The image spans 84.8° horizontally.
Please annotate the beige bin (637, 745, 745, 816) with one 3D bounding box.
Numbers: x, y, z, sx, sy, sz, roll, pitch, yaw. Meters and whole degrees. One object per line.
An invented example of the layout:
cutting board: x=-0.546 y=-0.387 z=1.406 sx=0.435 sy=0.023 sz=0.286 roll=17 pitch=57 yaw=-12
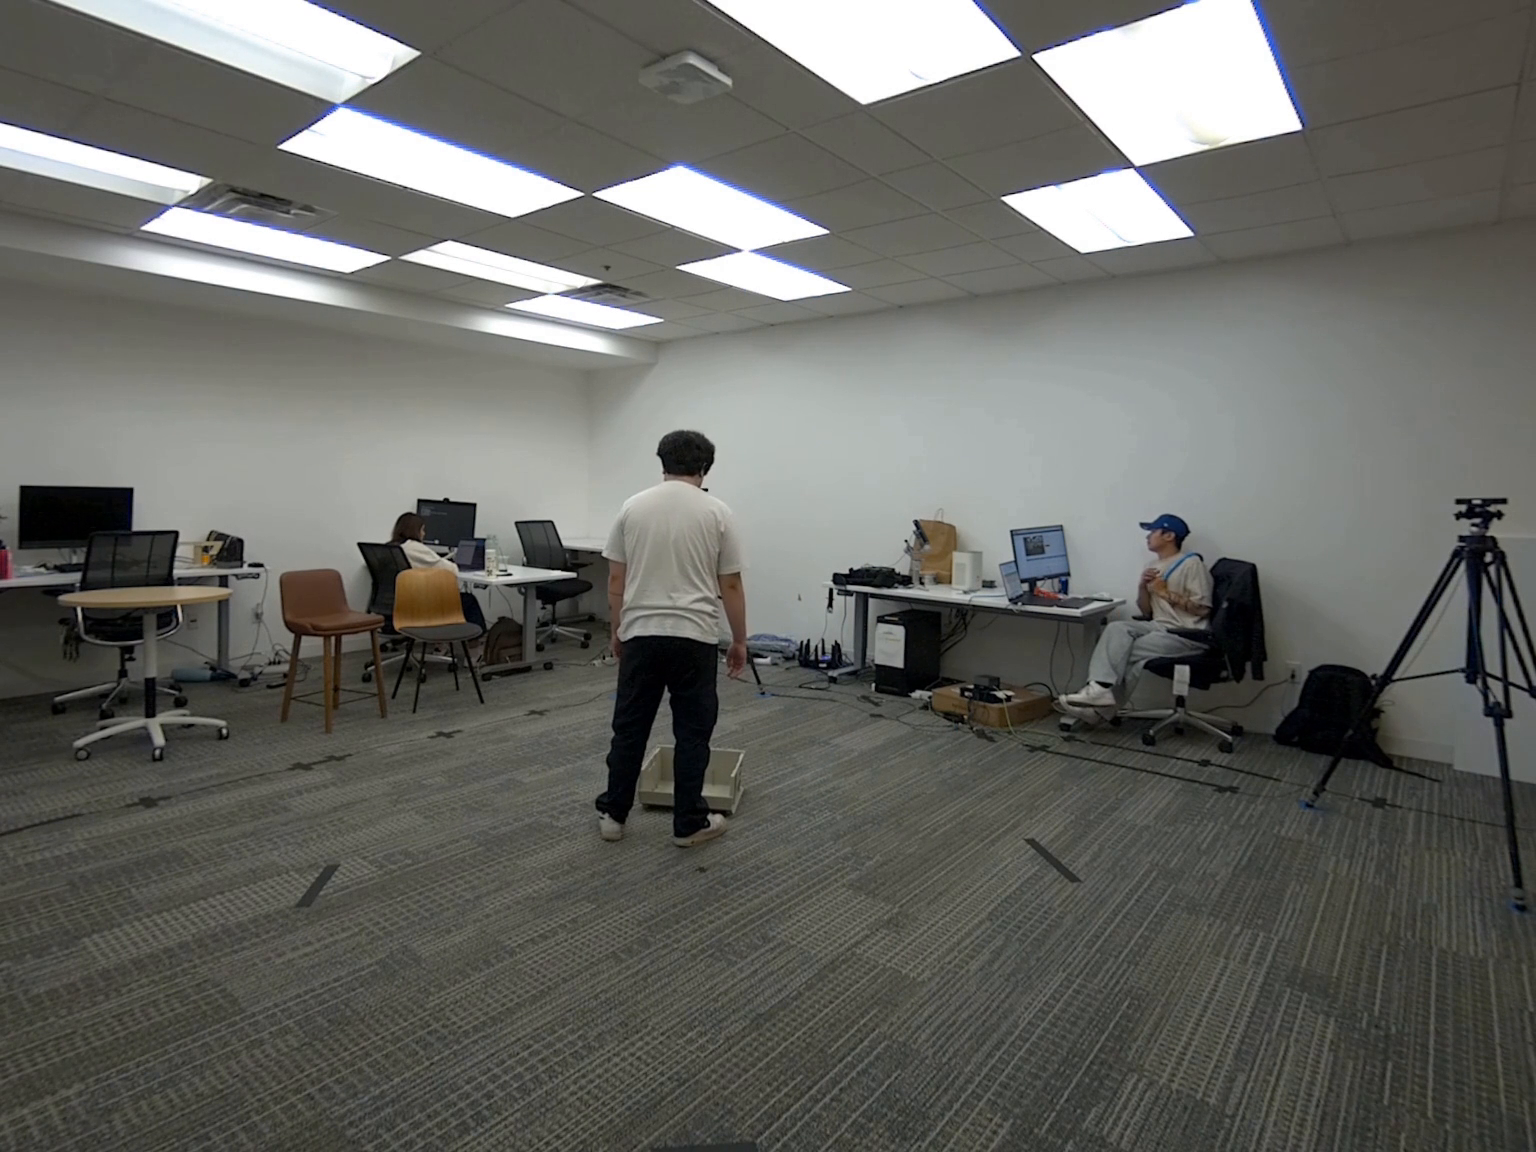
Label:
beige bin: x=-0.344 y=0.910 z=3.809 sx=0.426 sy=0.188 sz=0.375 roll=1 pitch=4 yaw=7
